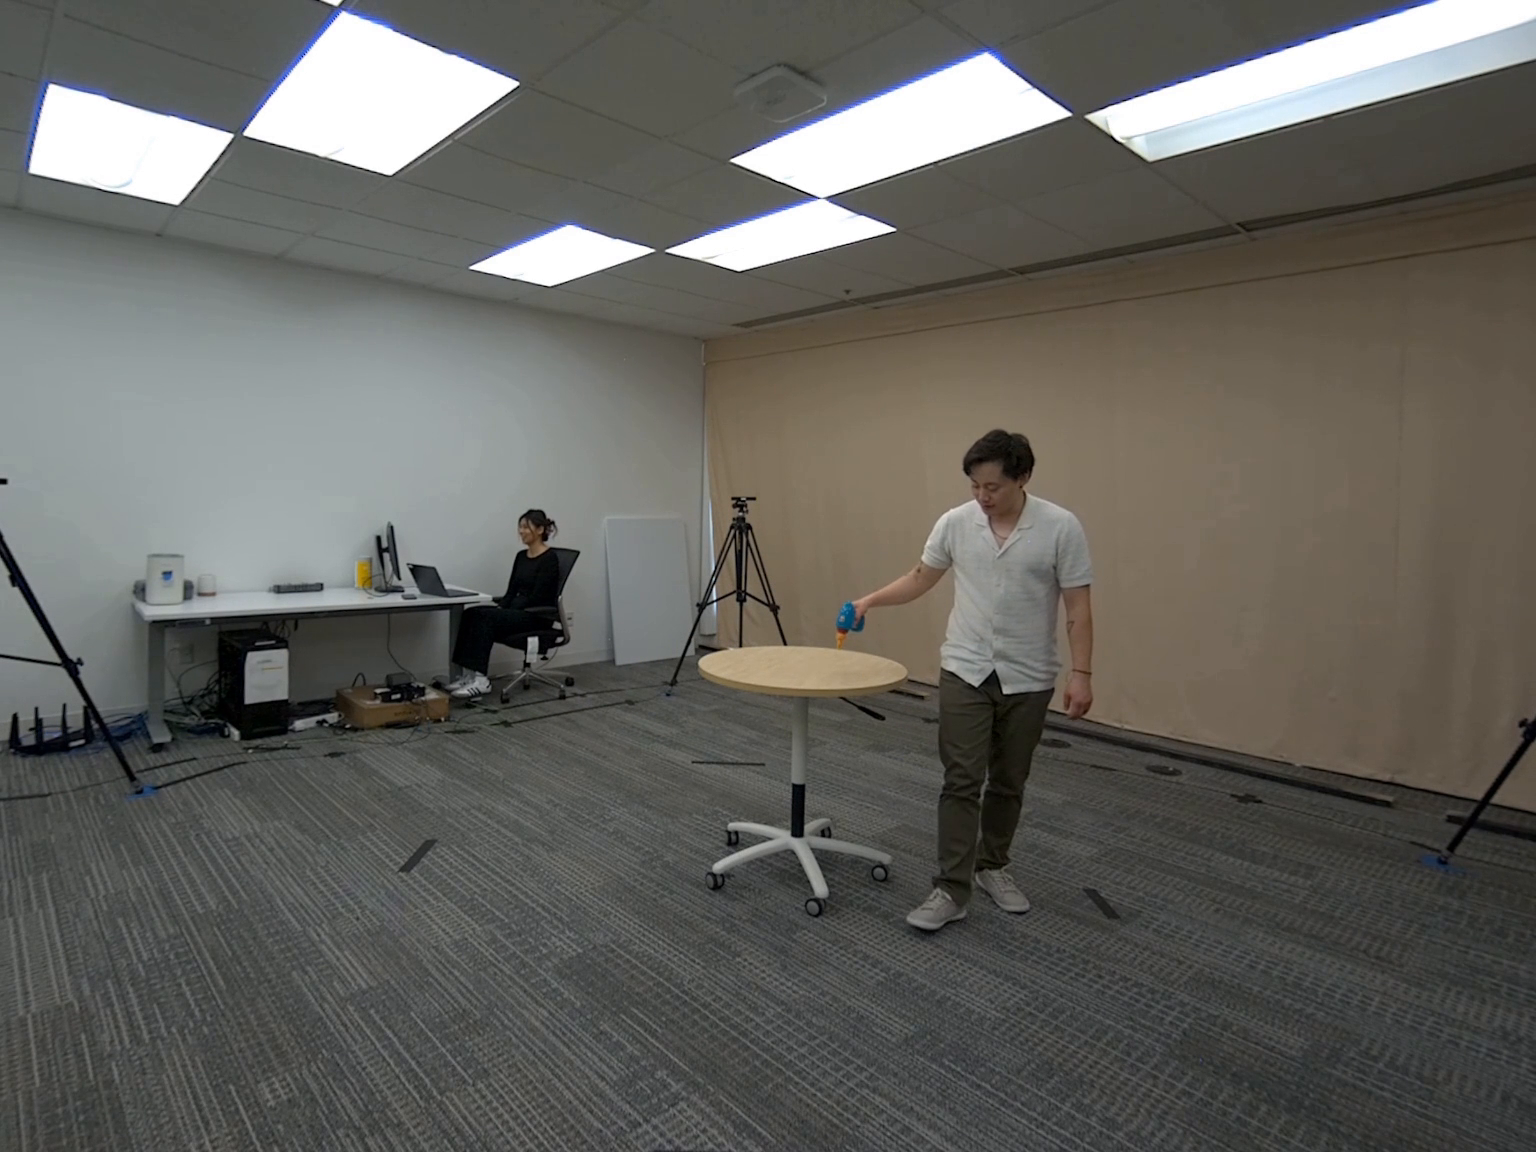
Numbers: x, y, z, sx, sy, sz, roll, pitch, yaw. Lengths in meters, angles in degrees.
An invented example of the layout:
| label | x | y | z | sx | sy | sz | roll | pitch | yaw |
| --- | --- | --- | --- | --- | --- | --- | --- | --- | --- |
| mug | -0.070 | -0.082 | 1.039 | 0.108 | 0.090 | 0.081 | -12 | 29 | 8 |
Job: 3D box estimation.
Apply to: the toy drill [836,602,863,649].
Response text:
| label | x | y | z | sx | sy | sz | roll | pitch | yaw |
| --- | --- | --- | --- | --- | --- | --- | --- | --- | --- |
| toy drill | 0.268 | 0.185 | 2.931 | 0.062 | 0.171 | 0.142 | 4 | -14 | 30 |
